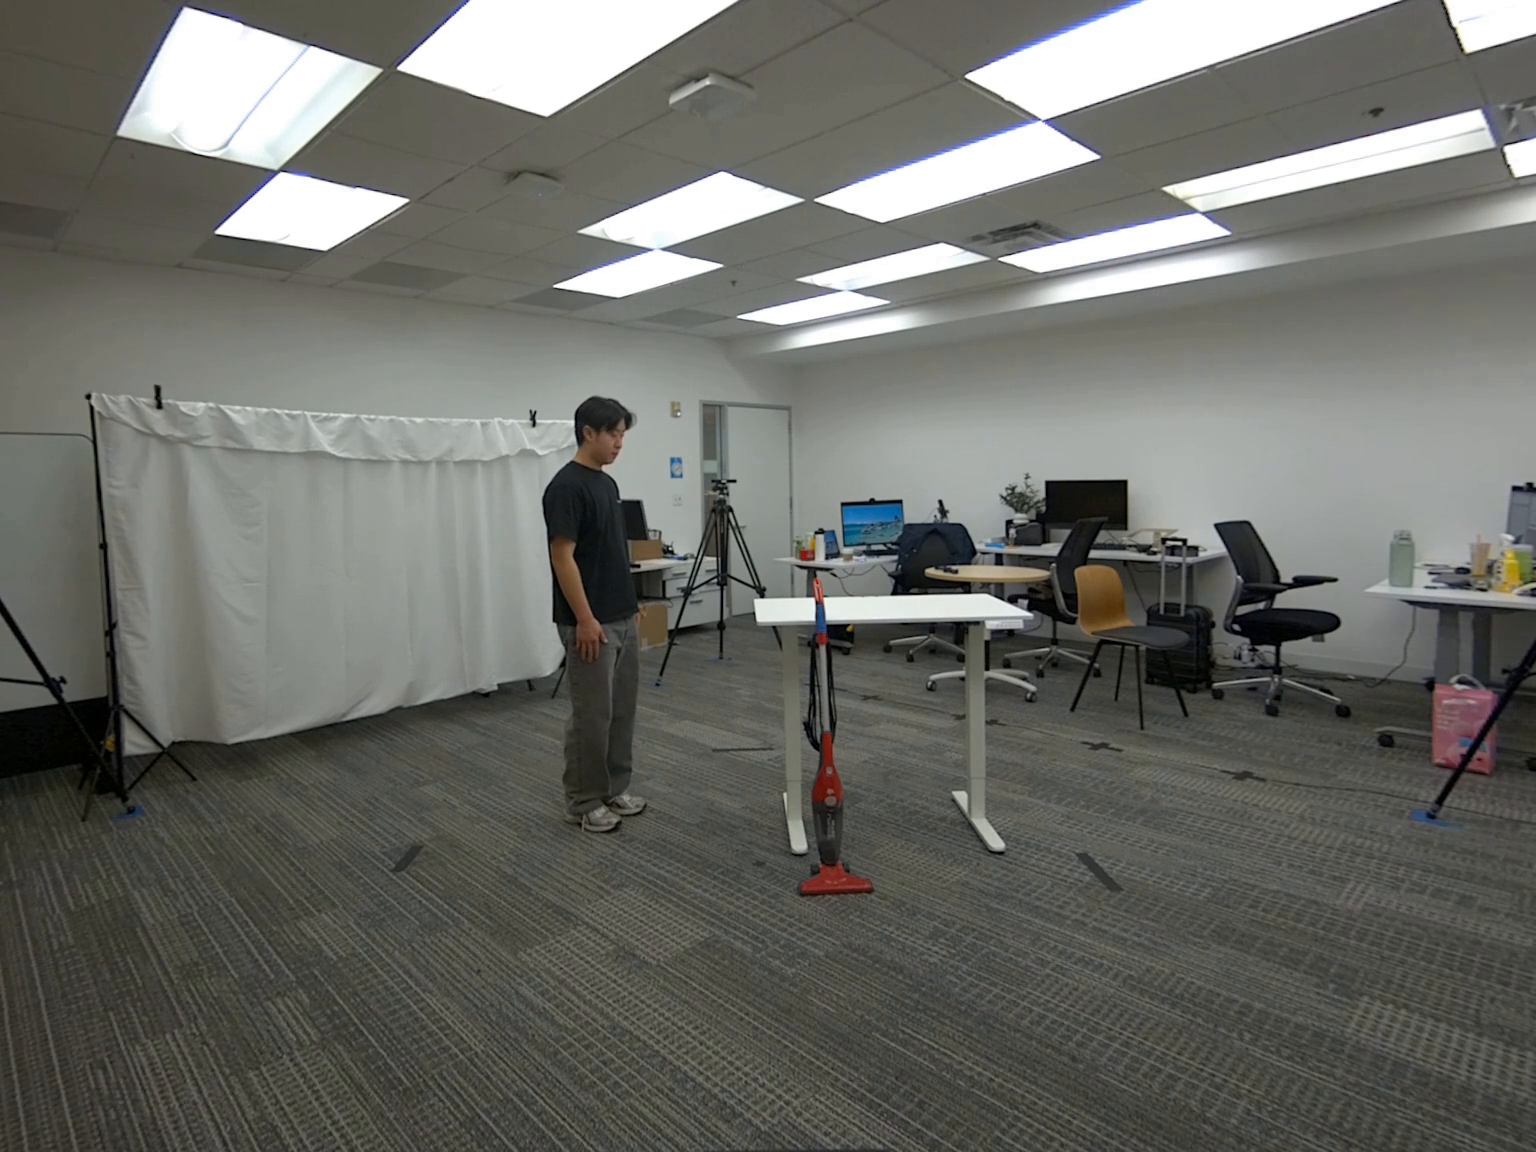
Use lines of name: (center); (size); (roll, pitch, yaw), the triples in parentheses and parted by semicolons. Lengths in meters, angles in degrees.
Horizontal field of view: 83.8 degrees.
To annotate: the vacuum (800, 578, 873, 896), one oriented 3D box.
vacuum: (0.205, 0.542, 3.030); (0.251, 1.060, 0.143); (-2, -10, -6)
